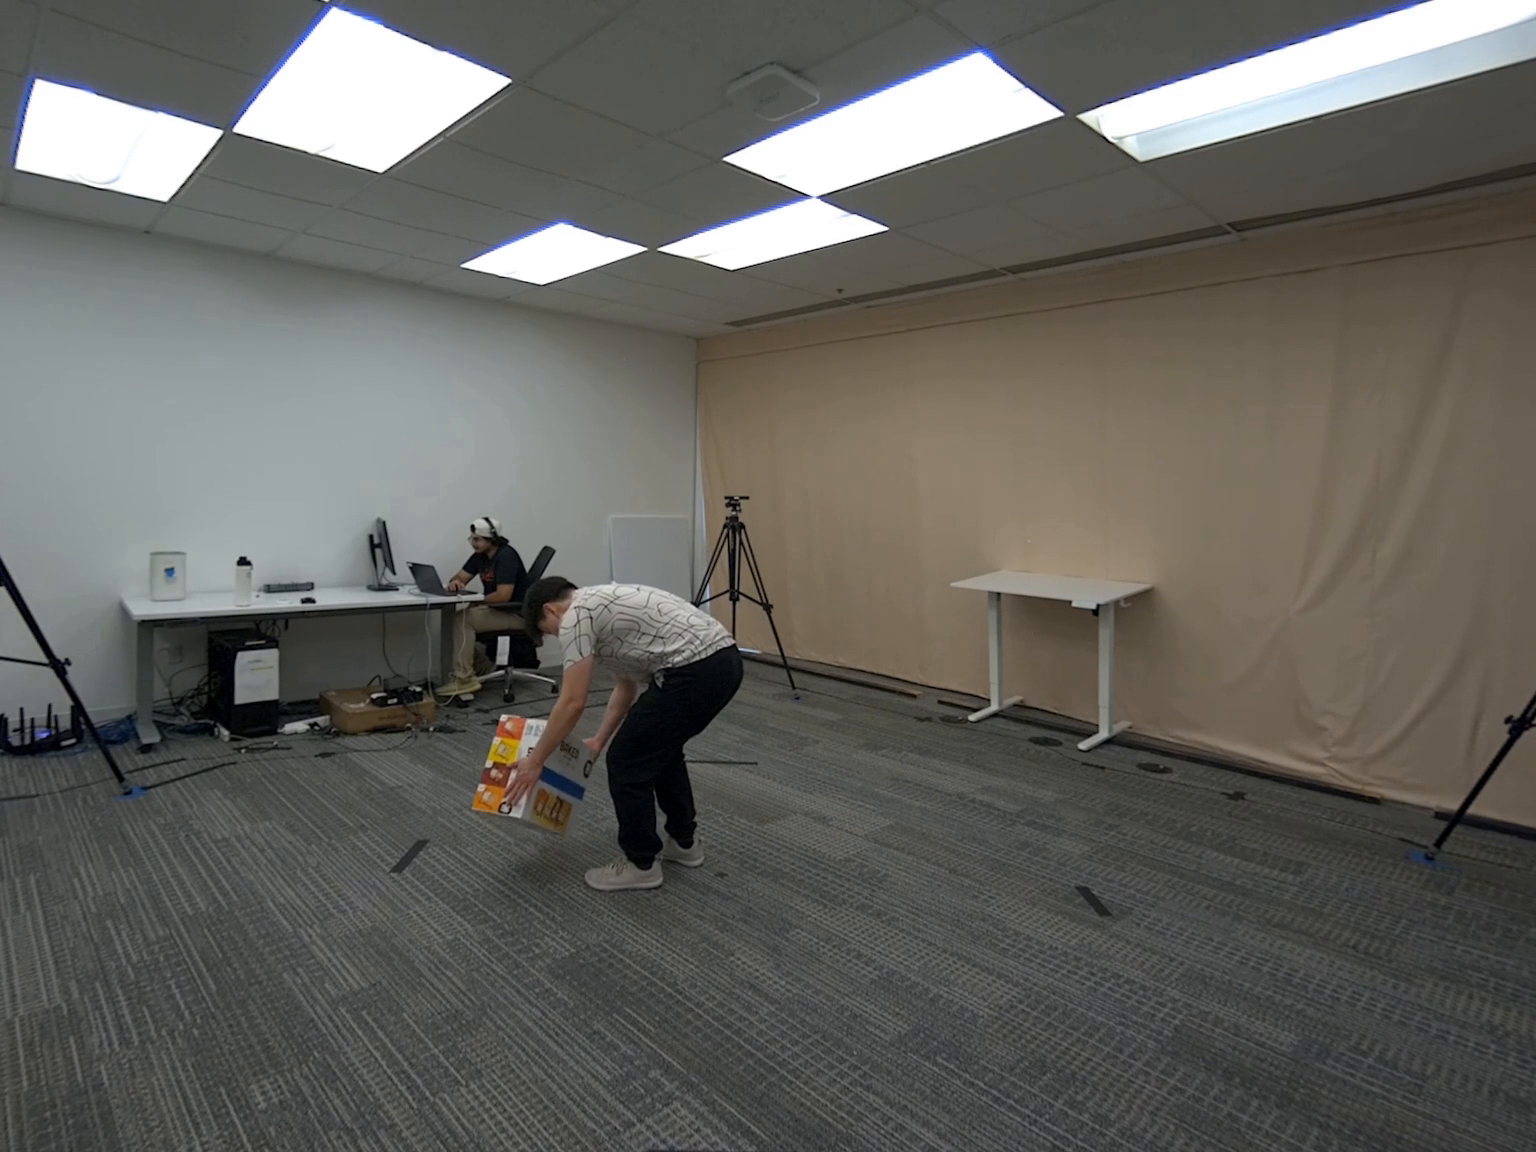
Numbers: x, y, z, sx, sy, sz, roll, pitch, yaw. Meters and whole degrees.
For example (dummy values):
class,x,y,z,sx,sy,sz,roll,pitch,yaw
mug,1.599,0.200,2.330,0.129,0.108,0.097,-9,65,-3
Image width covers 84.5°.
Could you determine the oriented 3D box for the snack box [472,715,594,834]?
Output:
class,x,y,z,sx,sy,sz,roll,pitch,yaw
snack box,-0.854,0.739,3.120,0.209,0.345,0.394,3,-26,17
